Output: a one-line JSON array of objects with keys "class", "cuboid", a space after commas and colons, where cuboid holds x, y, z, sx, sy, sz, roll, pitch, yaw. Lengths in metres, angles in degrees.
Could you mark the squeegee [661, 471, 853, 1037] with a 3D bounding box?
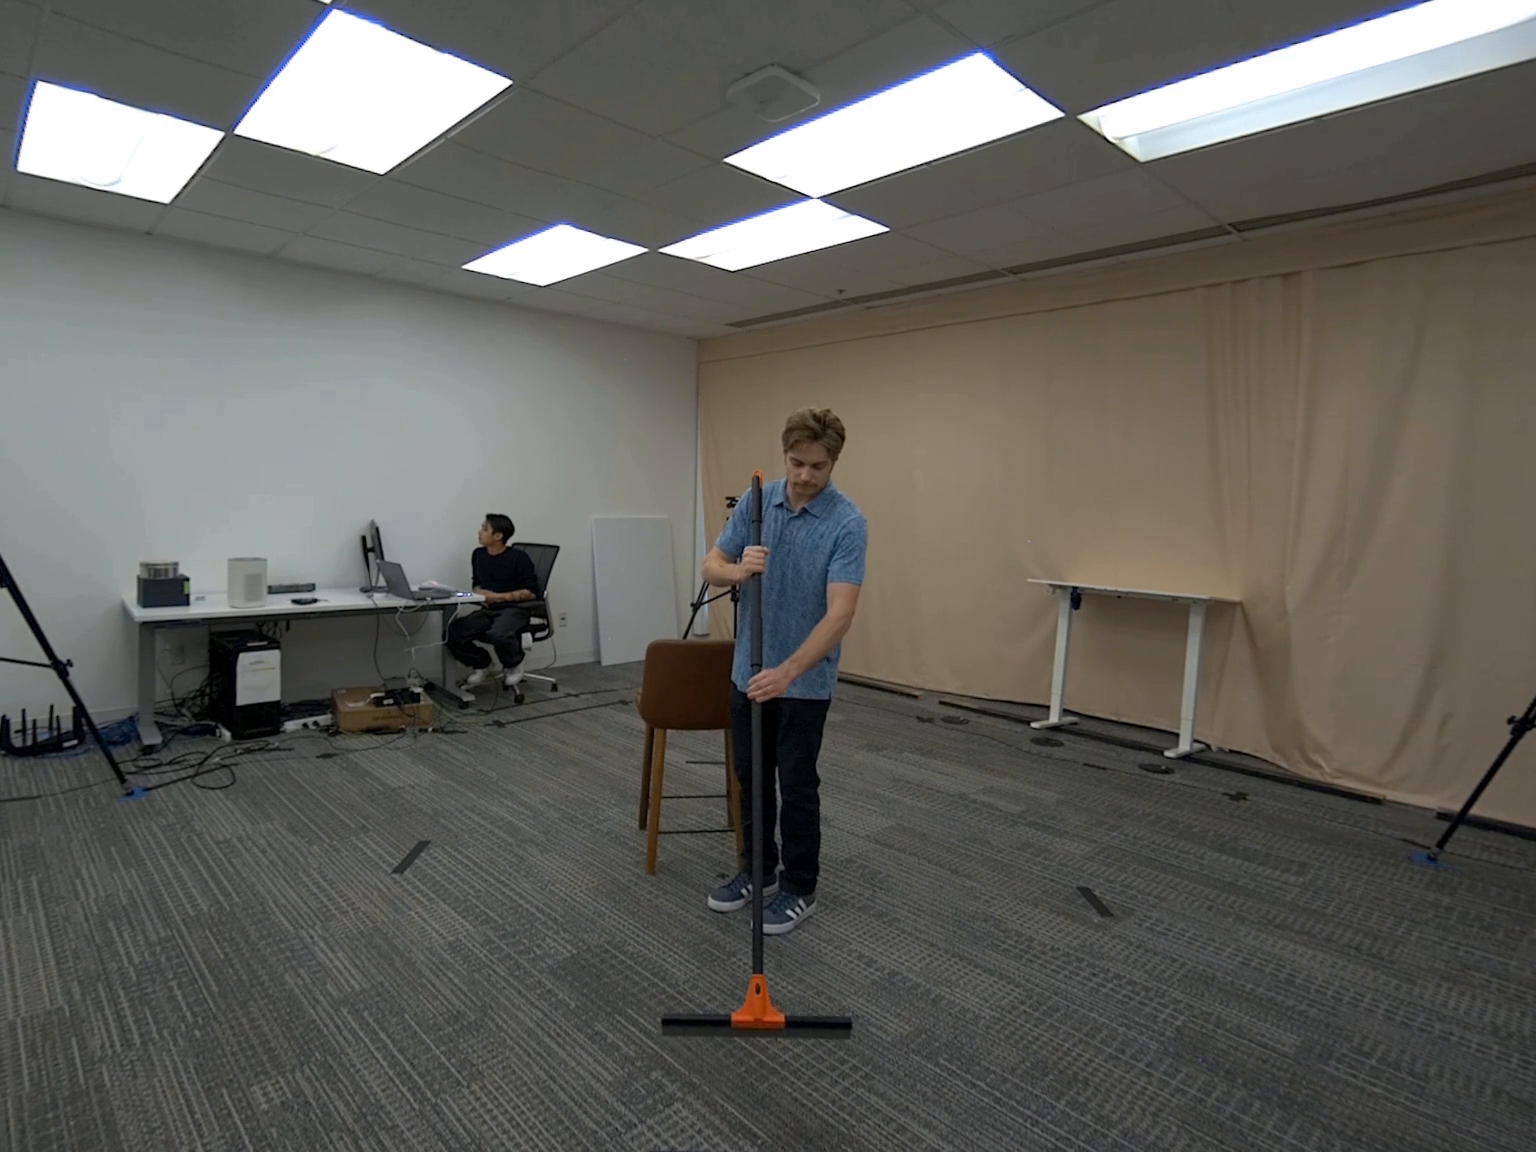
[{"class": "squeegee", "cuboid": [-0.044, 0.419, 2.246, 0.437, 1.569, 0.052, -6, -28, -1]}]
